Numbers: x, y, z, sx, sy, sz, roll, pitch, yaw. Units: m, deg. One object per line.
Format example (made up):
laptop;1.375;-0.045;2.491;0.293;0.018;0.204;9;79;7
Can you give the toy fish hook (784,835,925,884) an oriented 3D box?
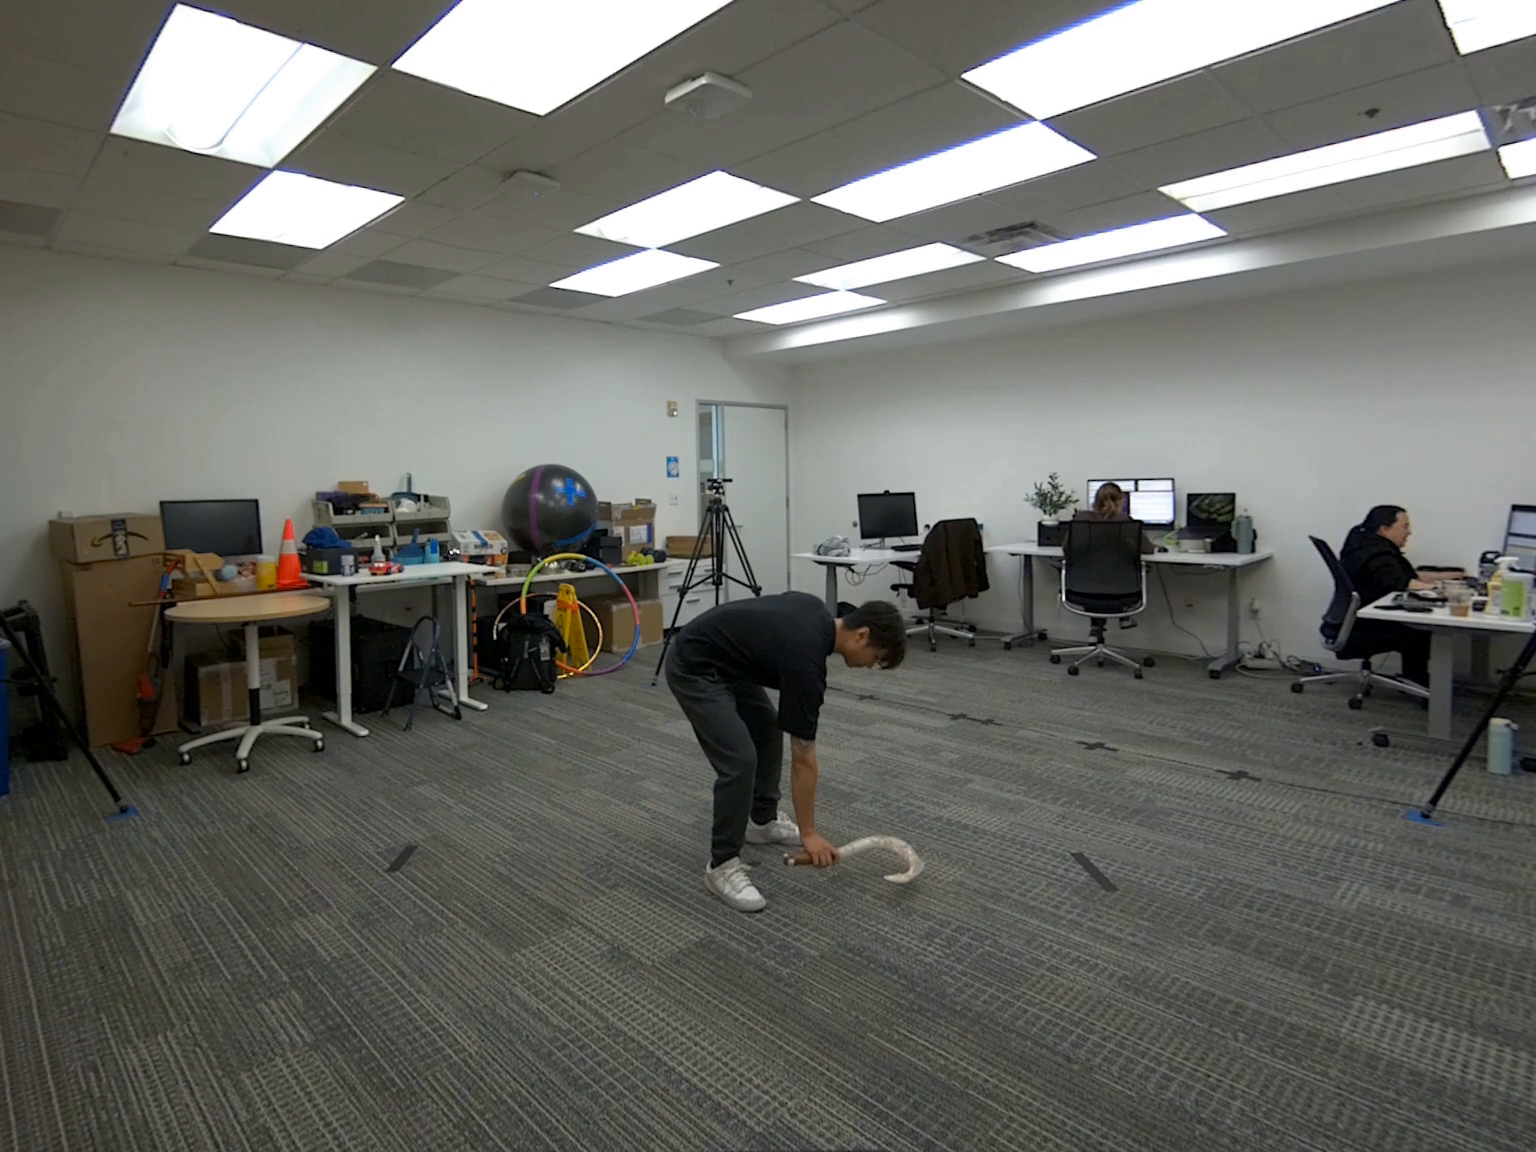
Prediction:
toy fish hook;0.310;0.952;2.851;0.495;0.048;0.232;2;17;-24
